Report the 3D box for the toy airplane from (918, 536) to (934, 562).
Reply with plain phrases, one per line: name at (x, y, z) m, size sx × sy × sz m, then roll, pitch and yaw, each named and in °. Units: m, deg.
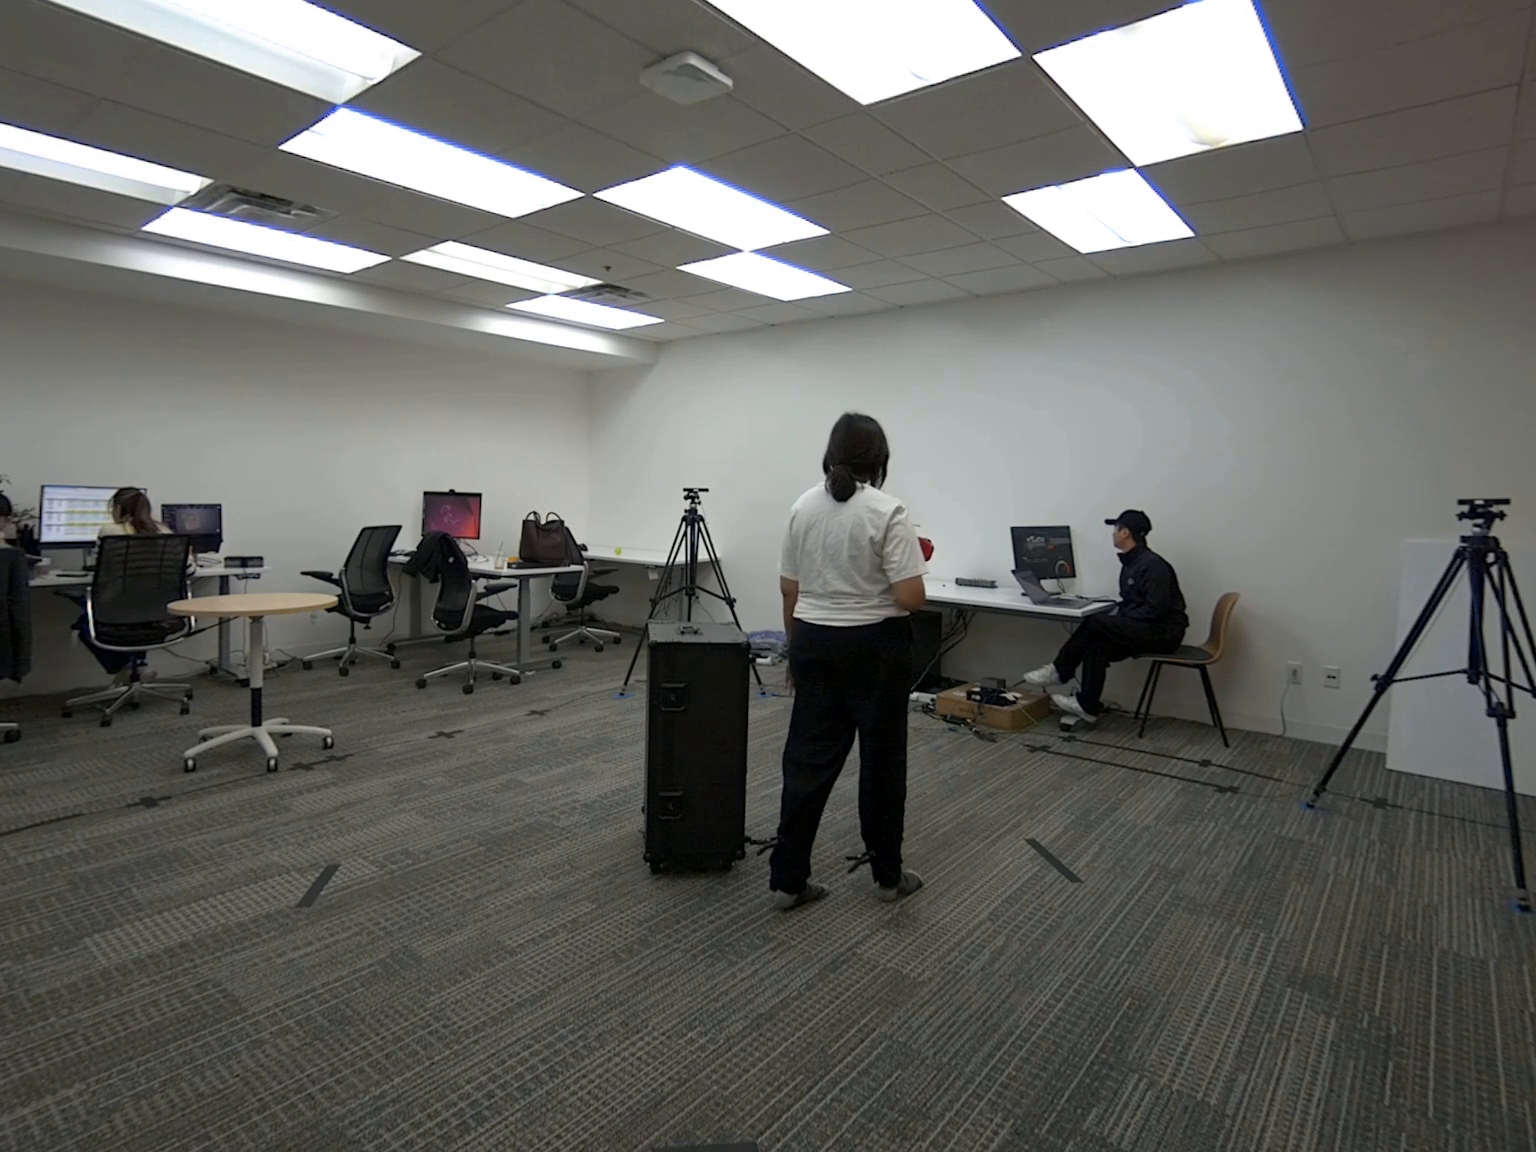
toy airplane at (0.472, -0.071, 3.032) m, size 0.256 × 0.264 × 0.151 m, roll -21°, pitch -46°, yaw 41°
